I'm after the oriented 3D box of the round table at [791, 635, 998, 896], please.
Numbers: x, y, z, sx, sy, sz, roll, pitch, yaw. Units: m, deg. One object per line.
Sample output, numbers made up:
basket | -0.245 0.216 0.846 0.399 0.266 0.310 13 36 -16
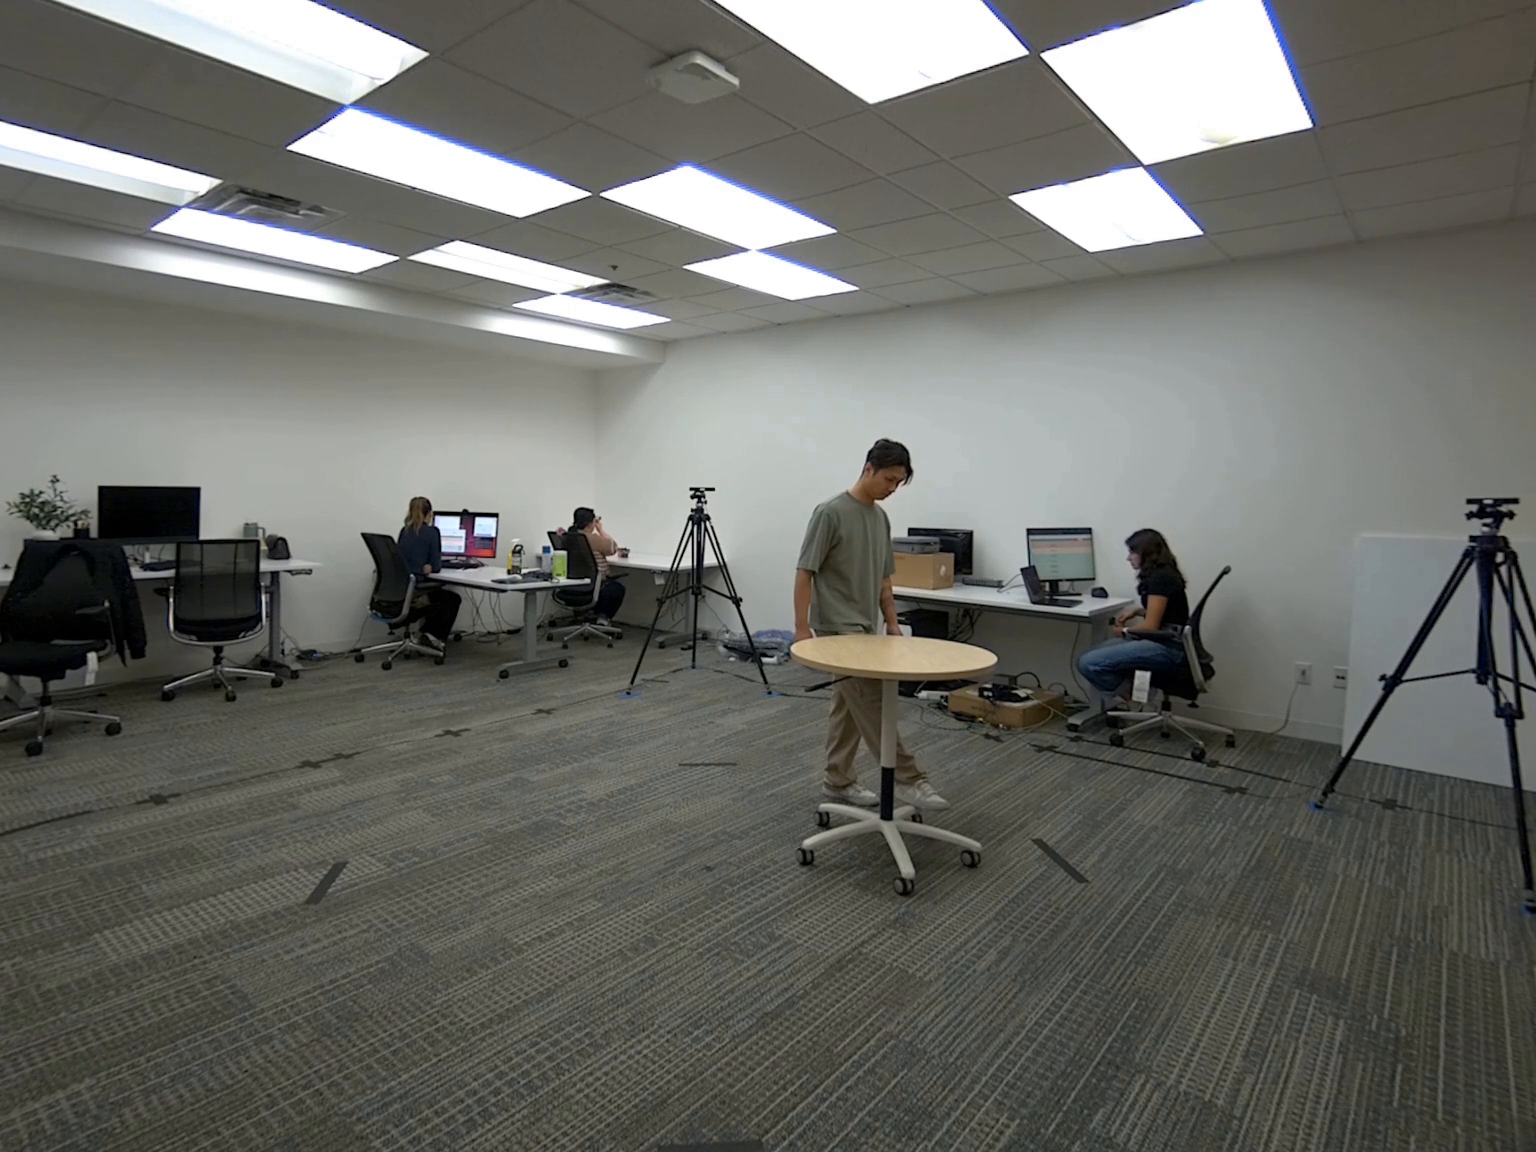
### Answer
round table | 0.429 0.672 3.243 0.784 0.784 0.789 2 4 -2
